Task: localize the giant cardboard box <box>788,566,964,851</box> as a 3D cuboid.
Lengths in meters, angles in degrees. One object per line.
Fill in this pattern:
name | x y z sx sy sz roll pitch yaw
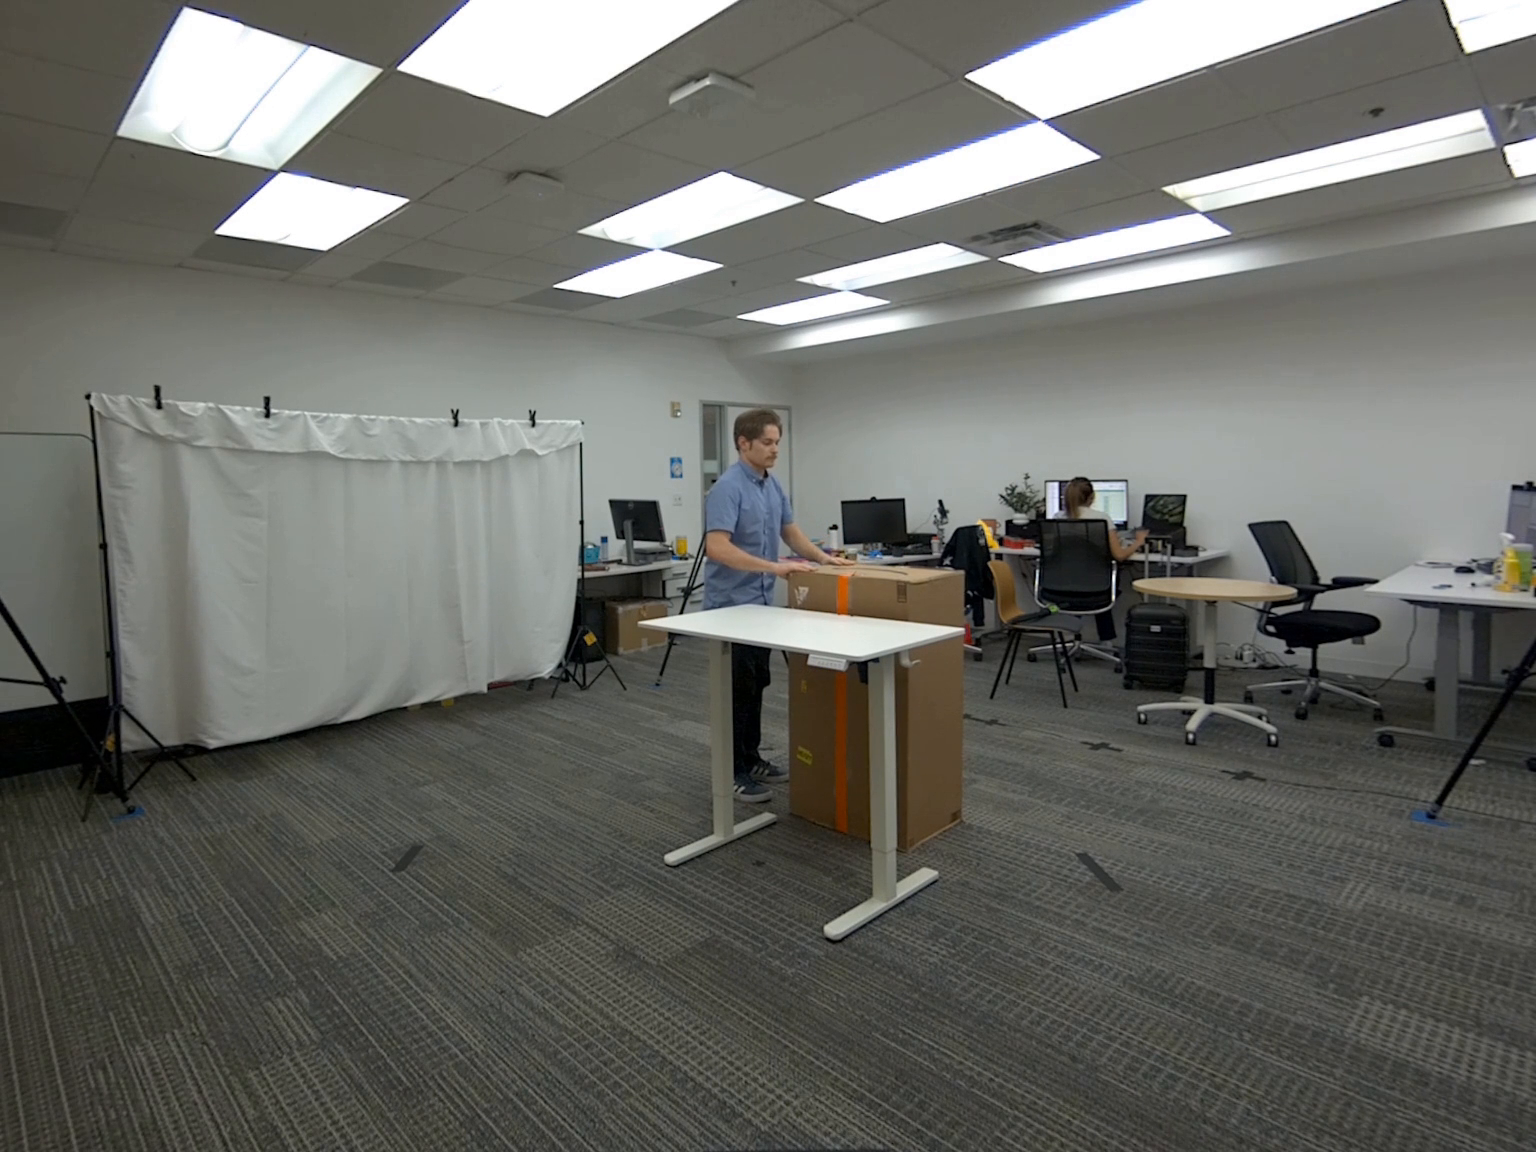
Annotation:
giant cardboard box | 0.436 0.486 3.483 0.595 1.022 0.415 4 6 44
